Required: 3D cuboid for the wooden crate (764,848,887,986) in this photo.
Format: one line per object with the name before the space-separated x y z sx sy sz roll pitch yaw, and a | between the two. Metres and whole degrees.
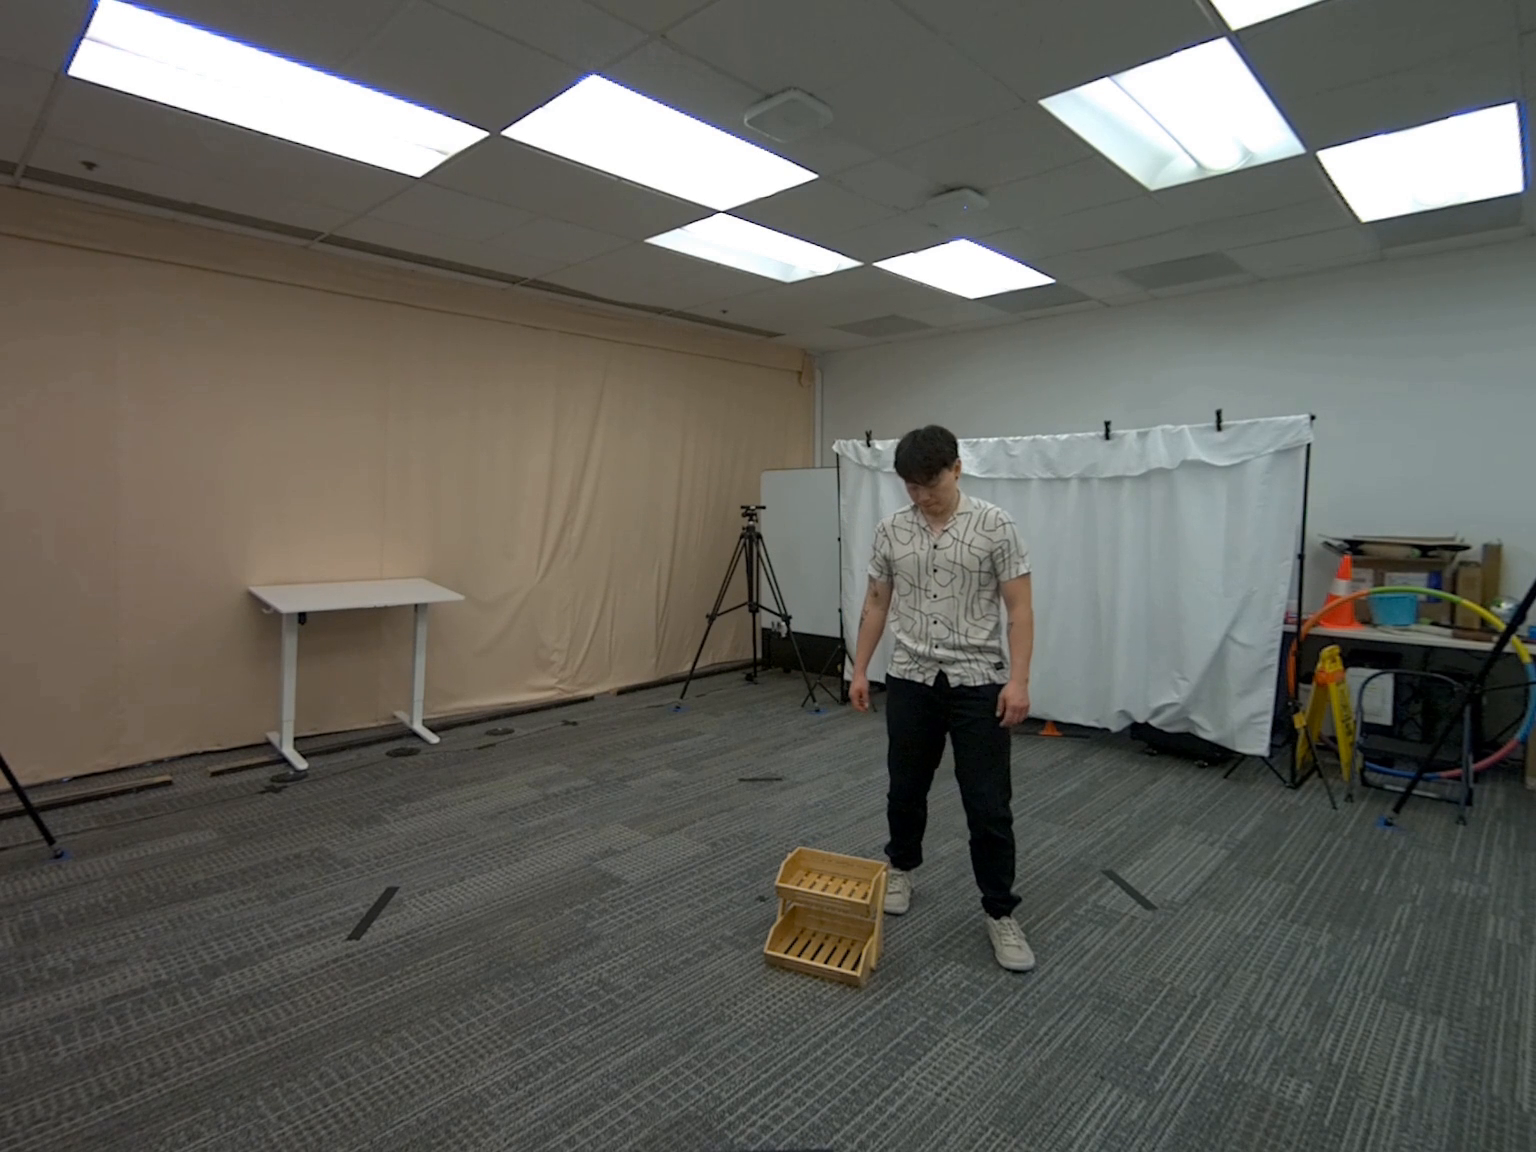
wooden crate | 0.189 1.047 2.599 0.333 0.273 0.295 2 4 25
